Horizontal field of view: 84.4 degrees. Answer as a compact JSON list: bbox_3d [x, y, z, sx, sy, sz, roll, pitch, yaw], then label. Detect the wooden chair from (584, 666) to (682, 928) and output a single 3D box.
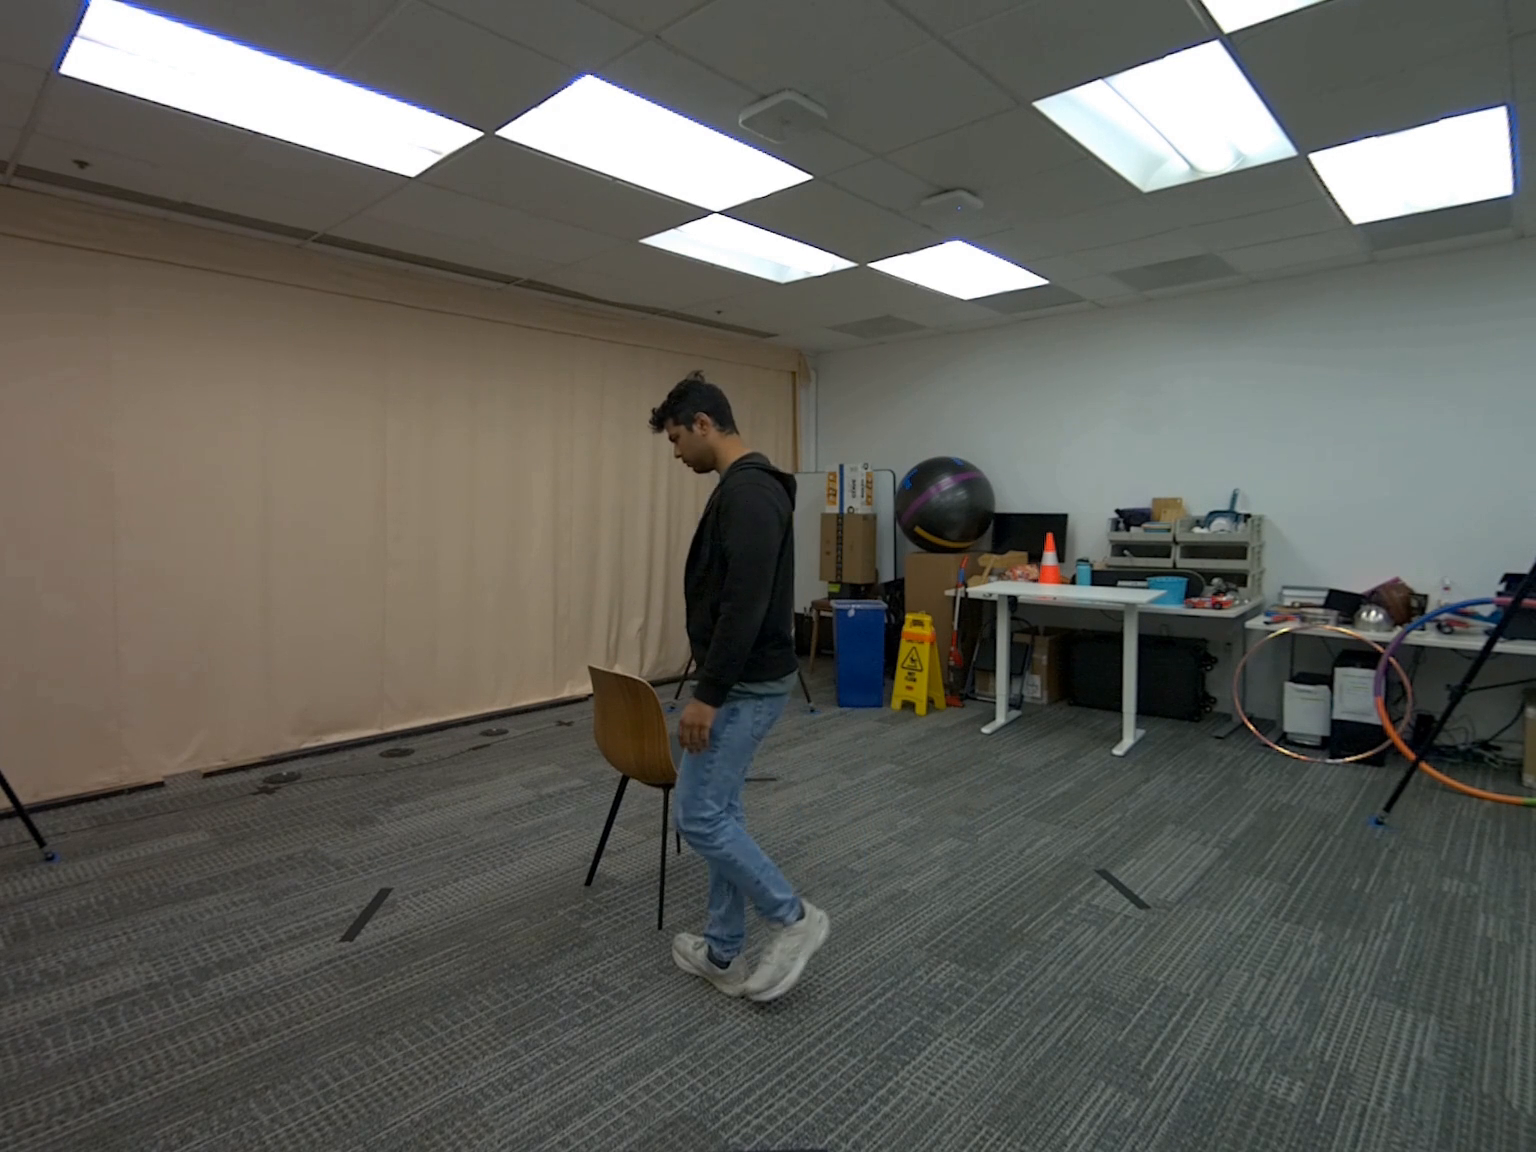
[{"bbox_3d":[-0.352,0.716,3.055,0.508,0.874,0.494,-9,8,-43],"label":"wooden chair"}]
